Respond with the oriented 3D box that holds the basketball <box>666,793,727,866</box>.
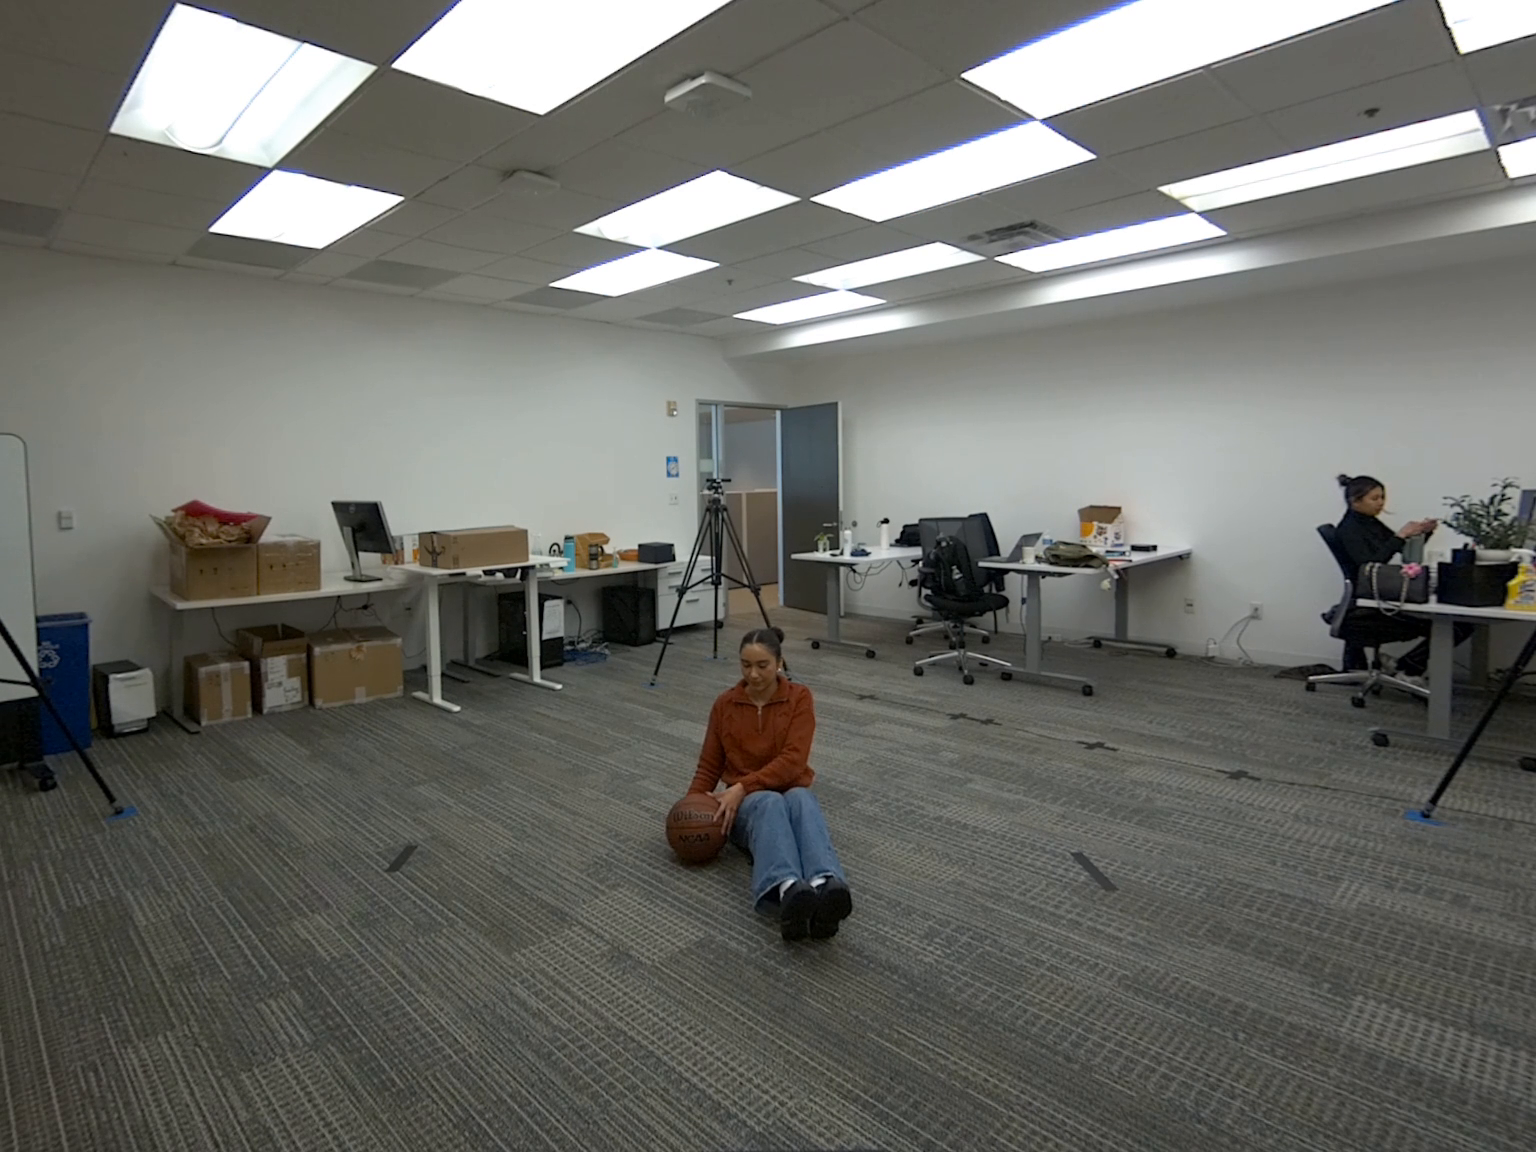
[{"bbox_3d":[-0.258,0.911,3.152,0.236,0.235,0.237,-1,5,-2],"label":"basketball"}]
